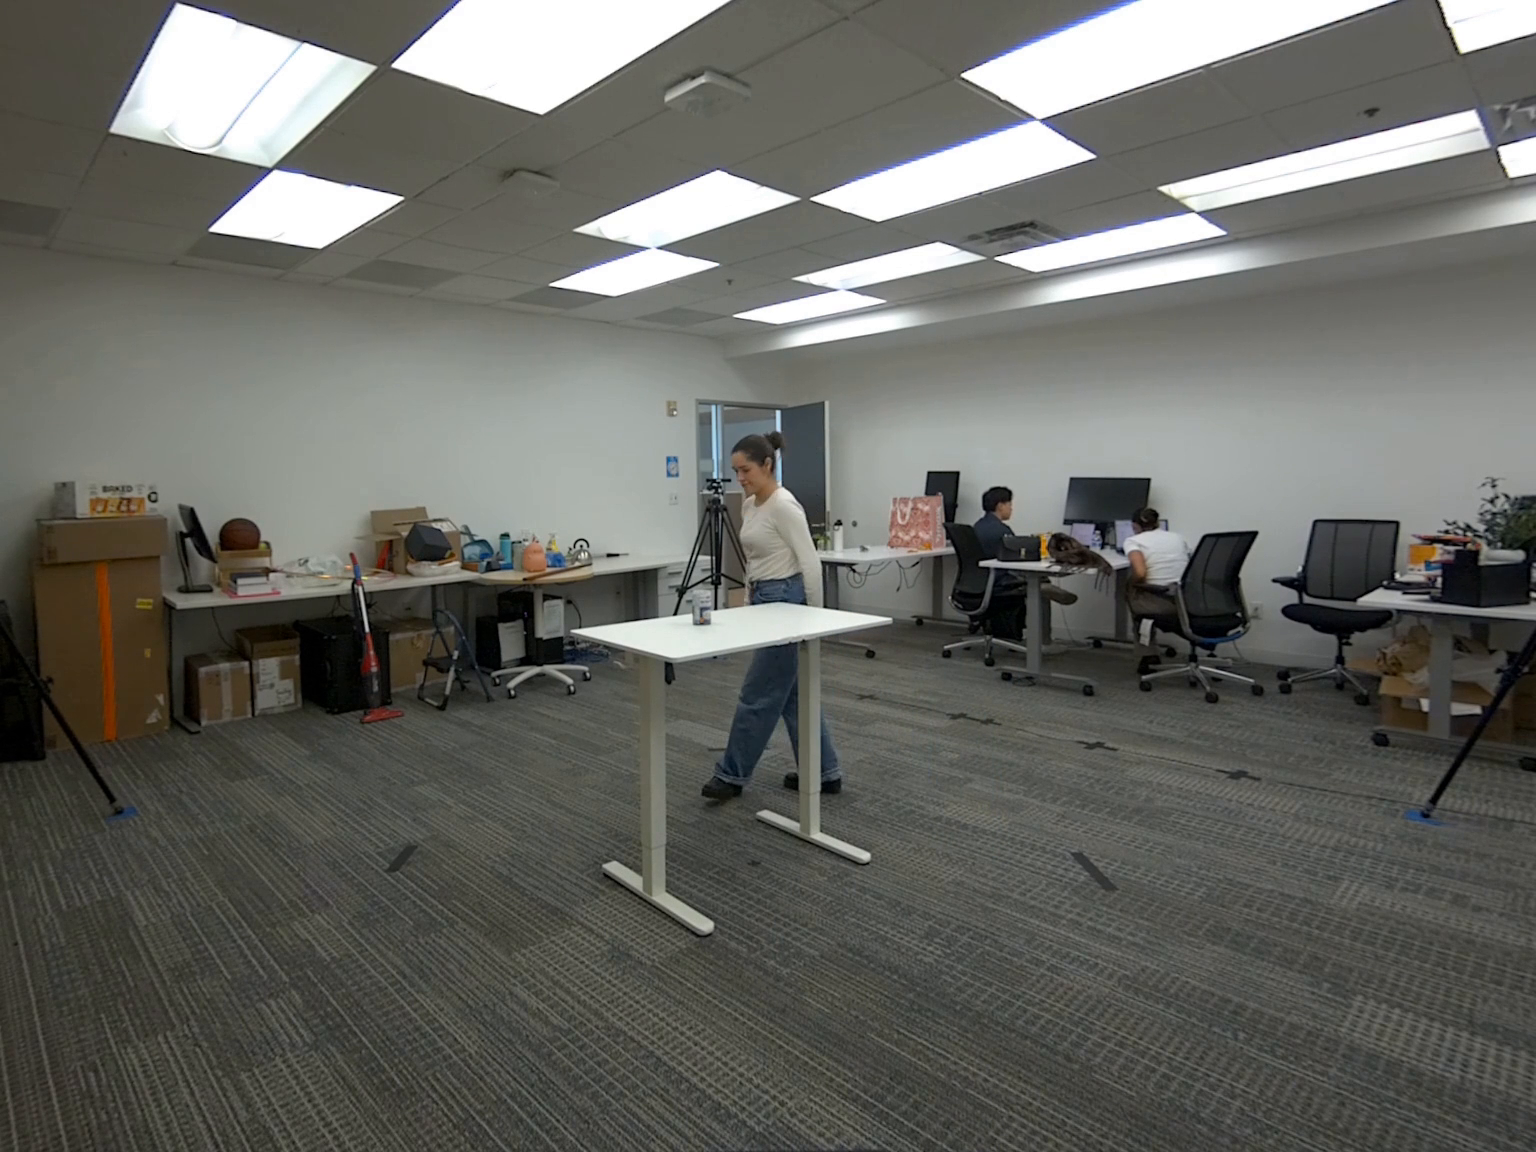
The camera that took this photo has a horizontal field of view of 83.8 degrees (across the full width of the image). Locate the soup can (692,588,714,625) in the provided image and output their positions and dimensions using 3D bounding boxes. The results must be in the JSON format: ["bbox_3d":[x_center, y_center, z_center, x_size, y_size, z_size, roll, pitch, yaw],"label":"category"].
[{"bbox_3d":[-0.232,0.116,3.035,0.067,0.121,0.067,1,3,-2],"label":"soup can"}]
